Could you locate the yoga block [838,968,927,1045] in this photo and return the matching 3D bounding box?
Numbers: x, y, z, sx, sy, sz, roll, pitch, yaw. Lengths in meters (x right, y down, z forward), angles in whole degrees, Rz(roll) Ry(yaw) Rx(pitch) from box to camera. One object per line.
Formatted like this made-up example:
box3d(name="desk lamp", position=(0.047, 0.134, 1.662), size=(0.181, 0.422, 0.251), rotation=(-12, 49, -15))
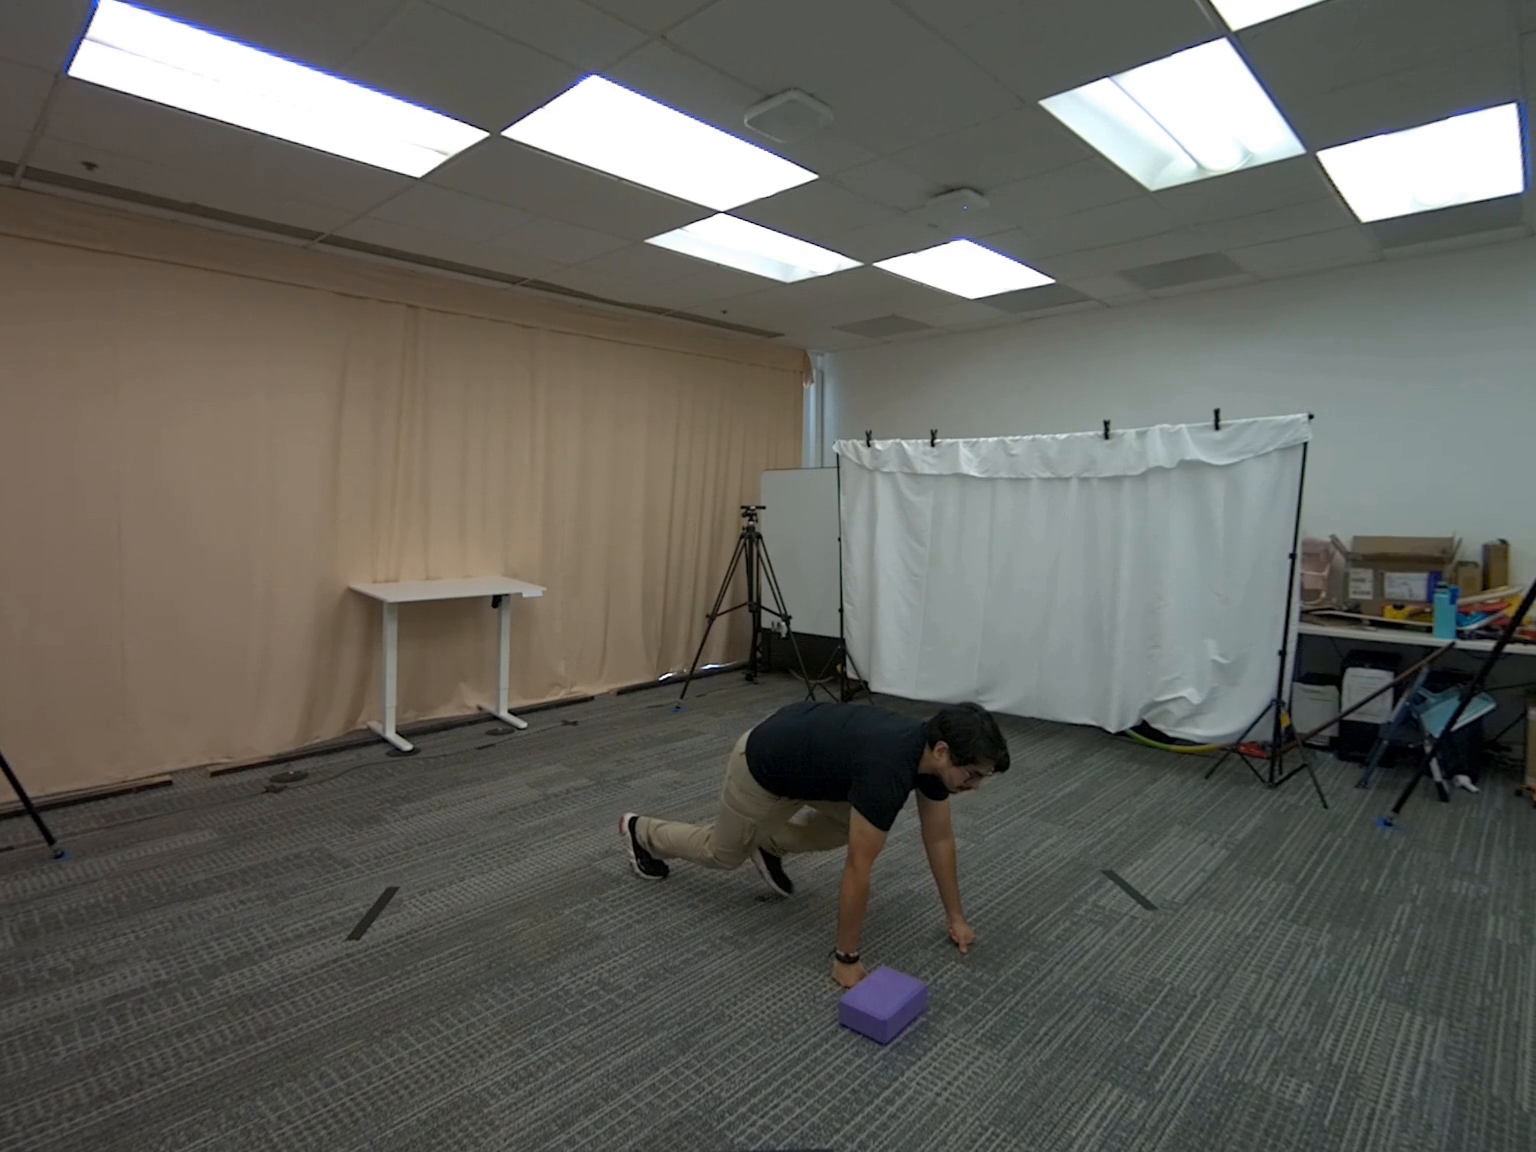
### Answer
box3d(name="yoga block", position=(0.317, 1.157, 2.294), size=(0.154, 0.076, 0.222), rotation=(5, 7, 40))
